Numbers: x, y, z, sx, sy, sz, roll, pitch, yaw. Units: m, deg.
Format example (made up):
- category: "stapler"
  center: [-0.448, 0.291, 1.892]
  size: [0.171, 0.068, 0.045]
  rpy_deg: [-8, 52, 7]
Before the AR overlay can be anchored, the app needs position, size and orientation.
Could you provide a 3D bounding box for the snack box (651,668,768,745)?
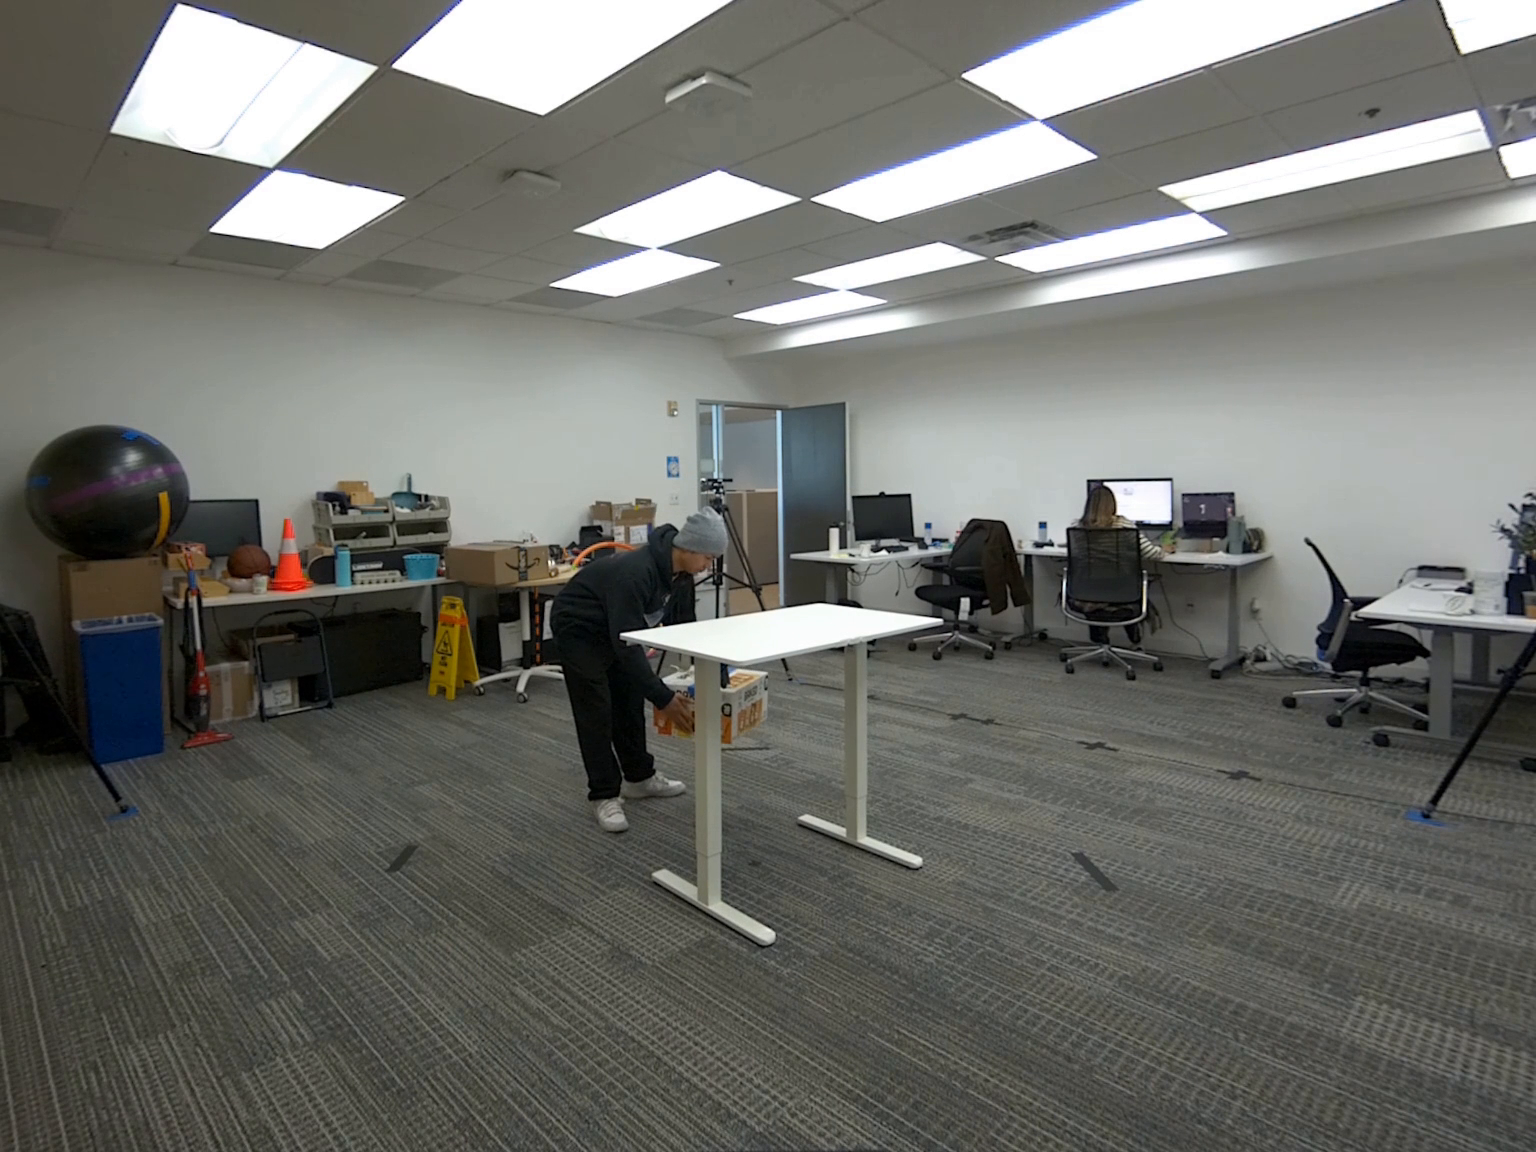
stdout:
- category: "snack box"
  center: [-0.230, 0.511, 3.491]
  size: [0.347, 0.205, 0.398]
  rpy_deg: [4, 6, 20]
